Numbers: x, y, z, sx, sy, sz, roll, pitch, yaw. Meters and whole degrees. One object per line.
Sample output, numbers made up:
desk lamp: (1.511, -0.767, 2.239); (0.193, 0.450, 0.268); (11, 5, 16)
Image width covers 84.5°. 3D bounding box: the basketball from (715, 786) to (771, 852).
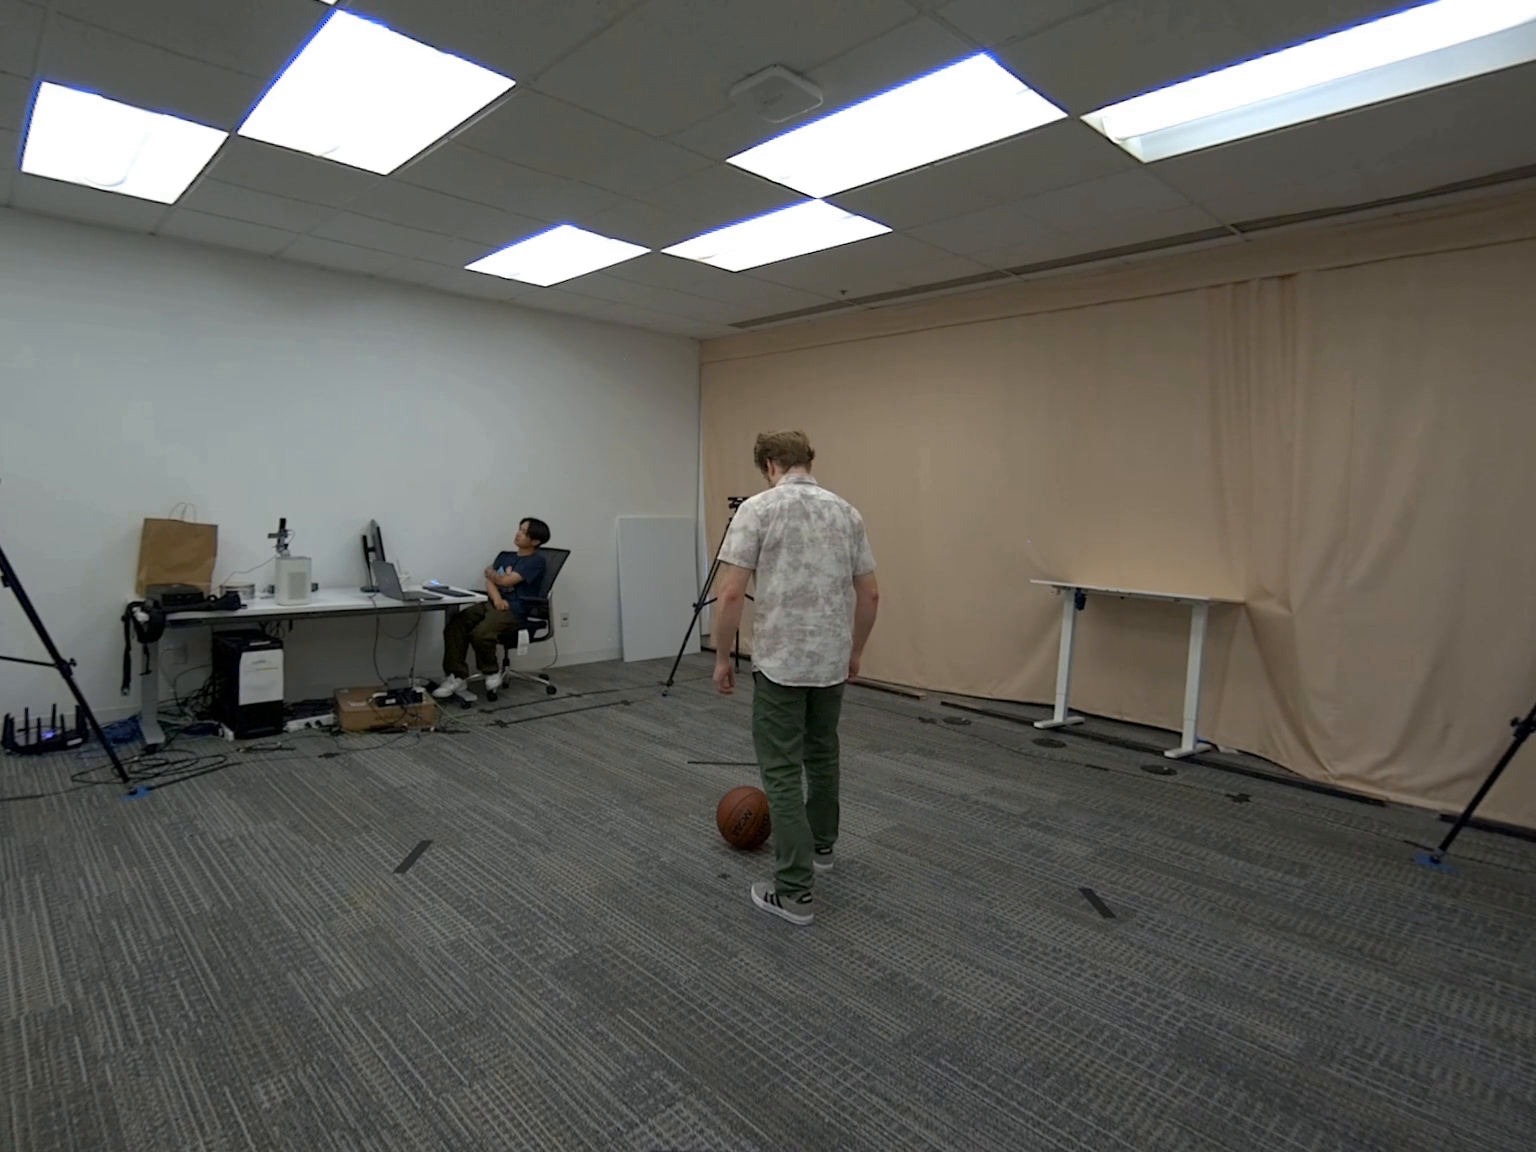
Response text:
basketball: (-0.098, 0.957, 3.370); (0.236, 0.235, 0.237); (1, 4, -1)
